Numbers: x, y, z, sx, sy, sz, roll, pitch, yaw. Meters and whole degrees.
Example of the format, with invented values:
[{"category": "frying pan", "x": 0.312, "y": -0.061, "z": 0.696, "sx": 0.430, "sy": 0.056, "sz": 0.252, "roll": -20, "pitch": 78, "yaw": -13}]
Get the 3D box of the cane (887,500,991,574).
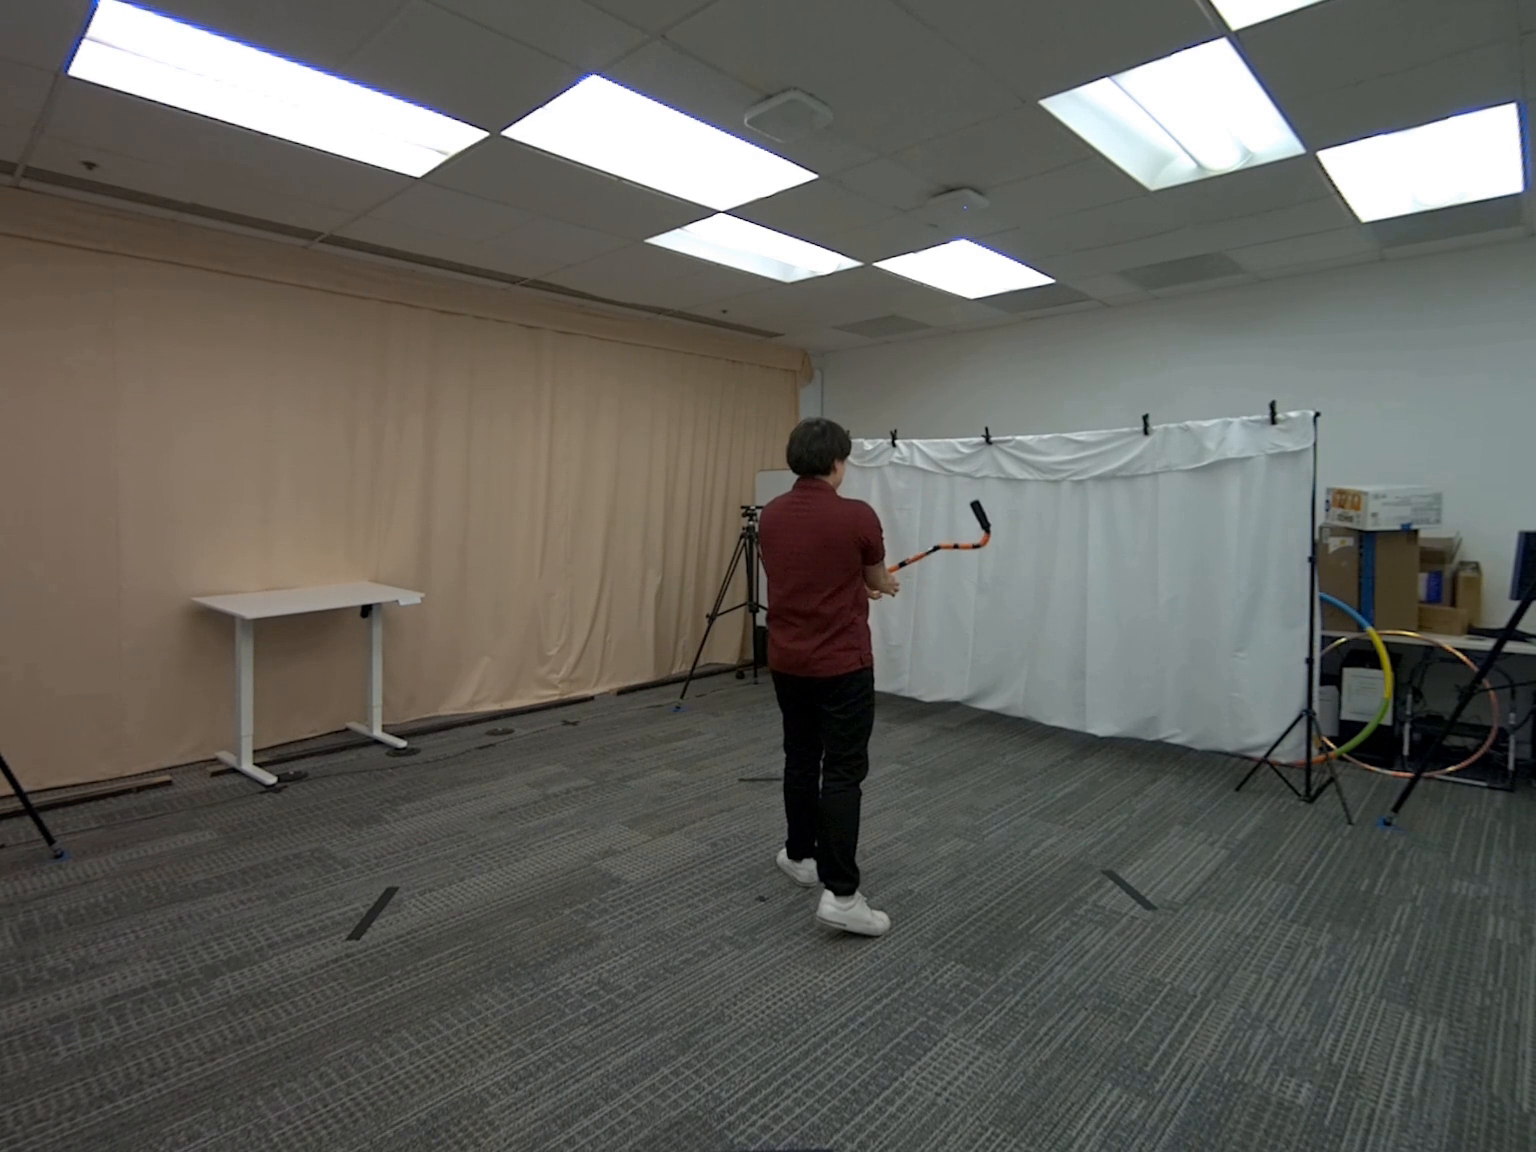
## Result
[{"category": "cane", "x": 0.462, "y": -0.010, "z": 3.296, "sx": 0.924, "sy": 0.209, "sz": 0.147, "roll": -29, "pitch": -16, "yaw": 34}]
